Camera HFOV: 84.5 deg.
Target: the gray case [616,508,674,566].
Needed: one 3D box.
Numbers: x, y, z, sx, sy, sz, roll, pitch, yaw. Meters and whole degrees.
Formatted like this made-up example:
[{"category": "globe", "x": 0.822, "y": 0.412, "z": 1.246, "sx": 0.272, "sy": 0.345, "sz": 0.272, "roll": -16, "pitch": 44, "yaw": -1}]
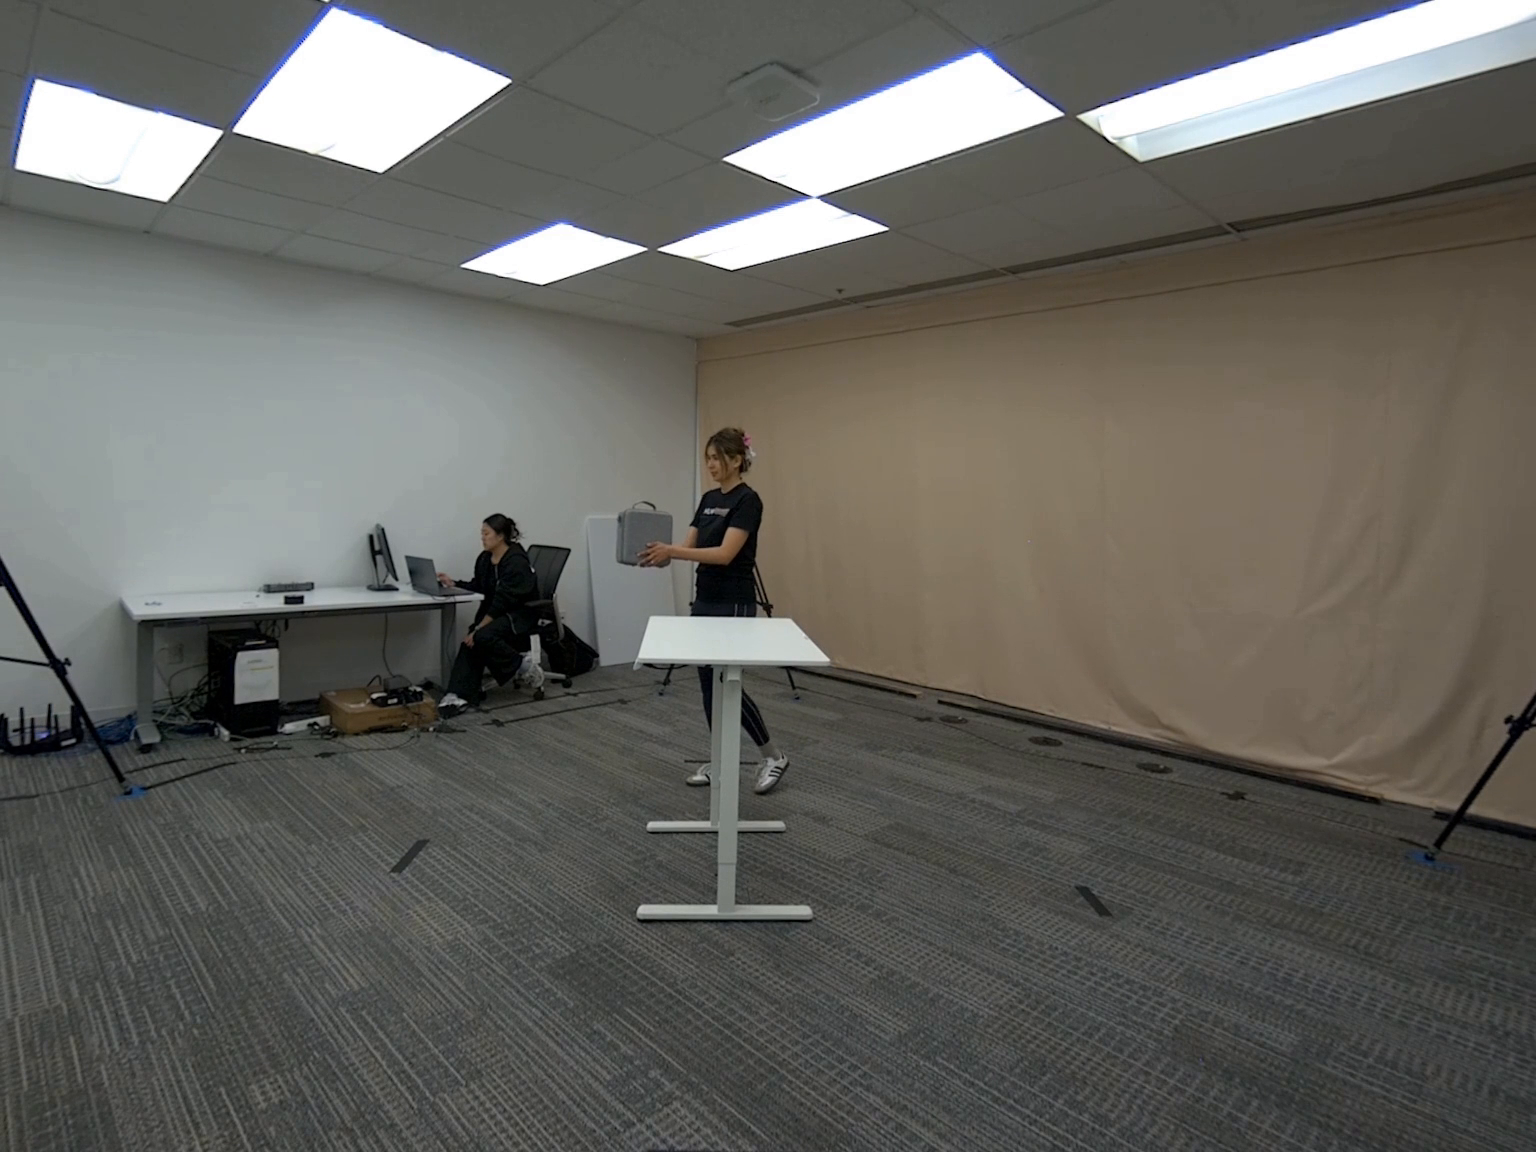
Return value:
[{"category": "gray case", "x": -0.573, "y": -0.181, "z": 3.861, "sx": 0.251, "sy": 0.261, "sz": 0.107, "roll": 4, "pitch": -1, "yaw": -36}]
